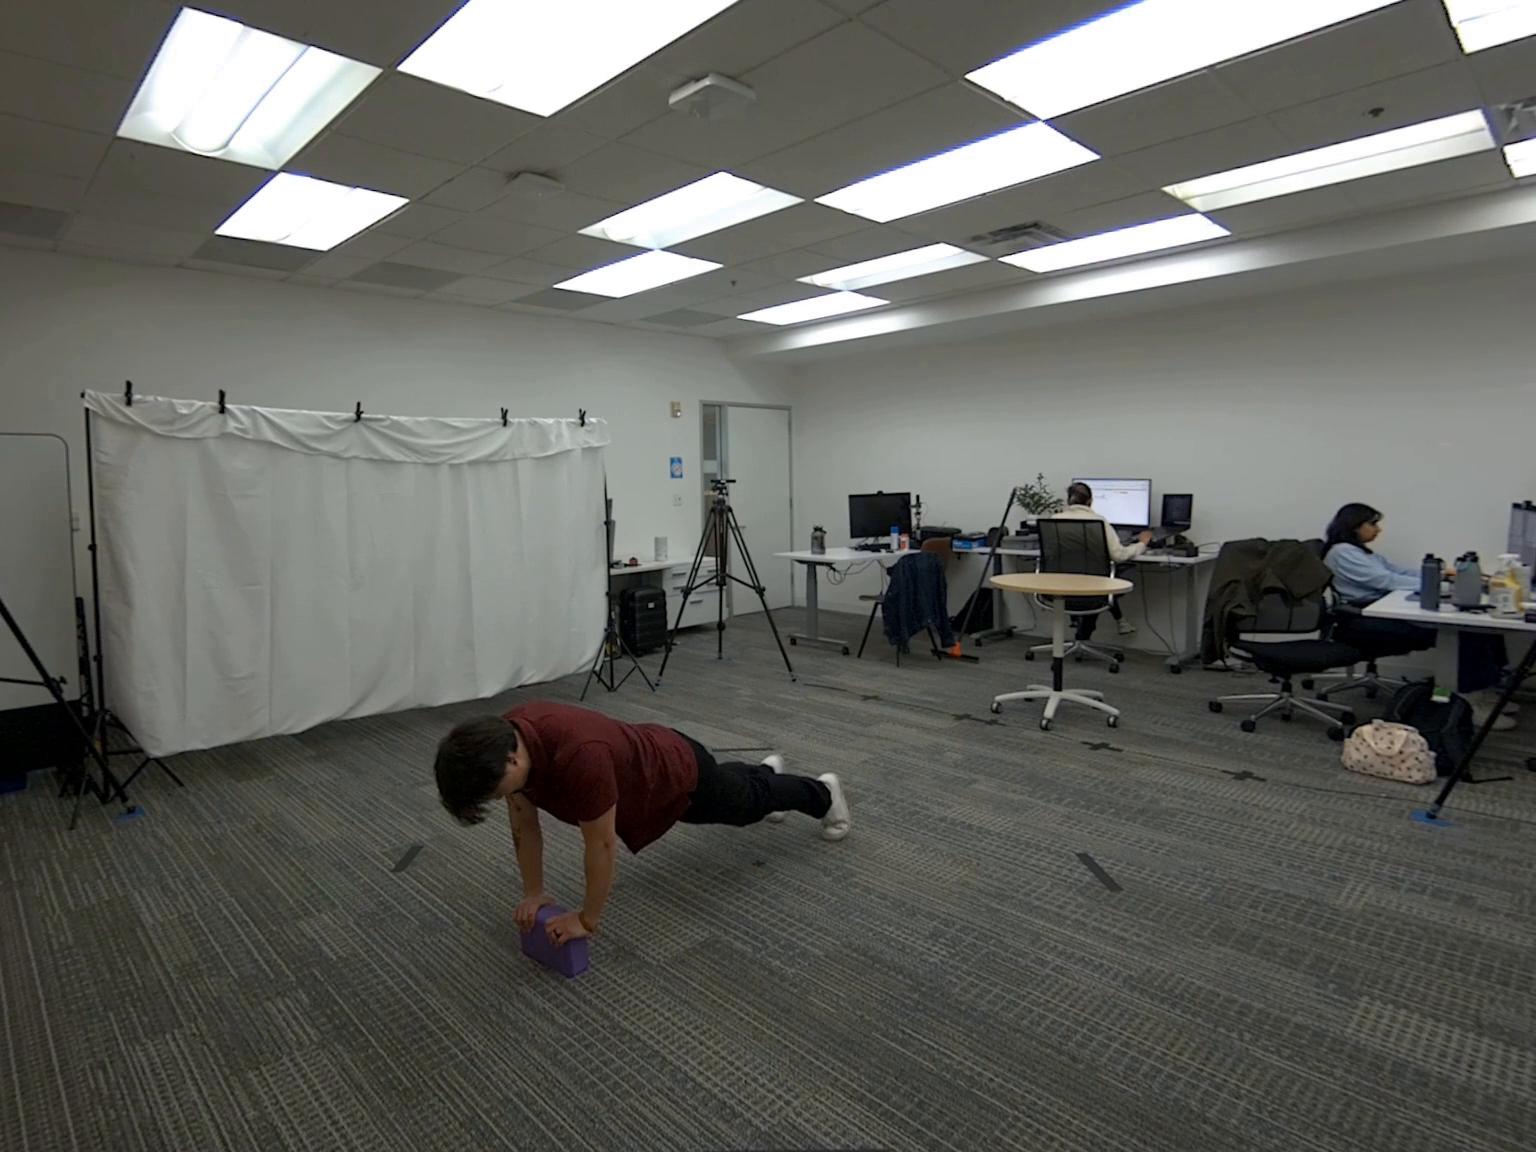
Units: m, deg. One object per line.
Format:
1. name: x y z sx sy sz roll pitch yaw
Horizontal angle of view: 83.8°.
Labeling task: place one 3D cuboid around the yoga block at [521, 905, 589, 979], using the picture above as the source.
1. yoga block: -0.623 1.060 2.503 0.236 0.148 0.075 3 9 38
